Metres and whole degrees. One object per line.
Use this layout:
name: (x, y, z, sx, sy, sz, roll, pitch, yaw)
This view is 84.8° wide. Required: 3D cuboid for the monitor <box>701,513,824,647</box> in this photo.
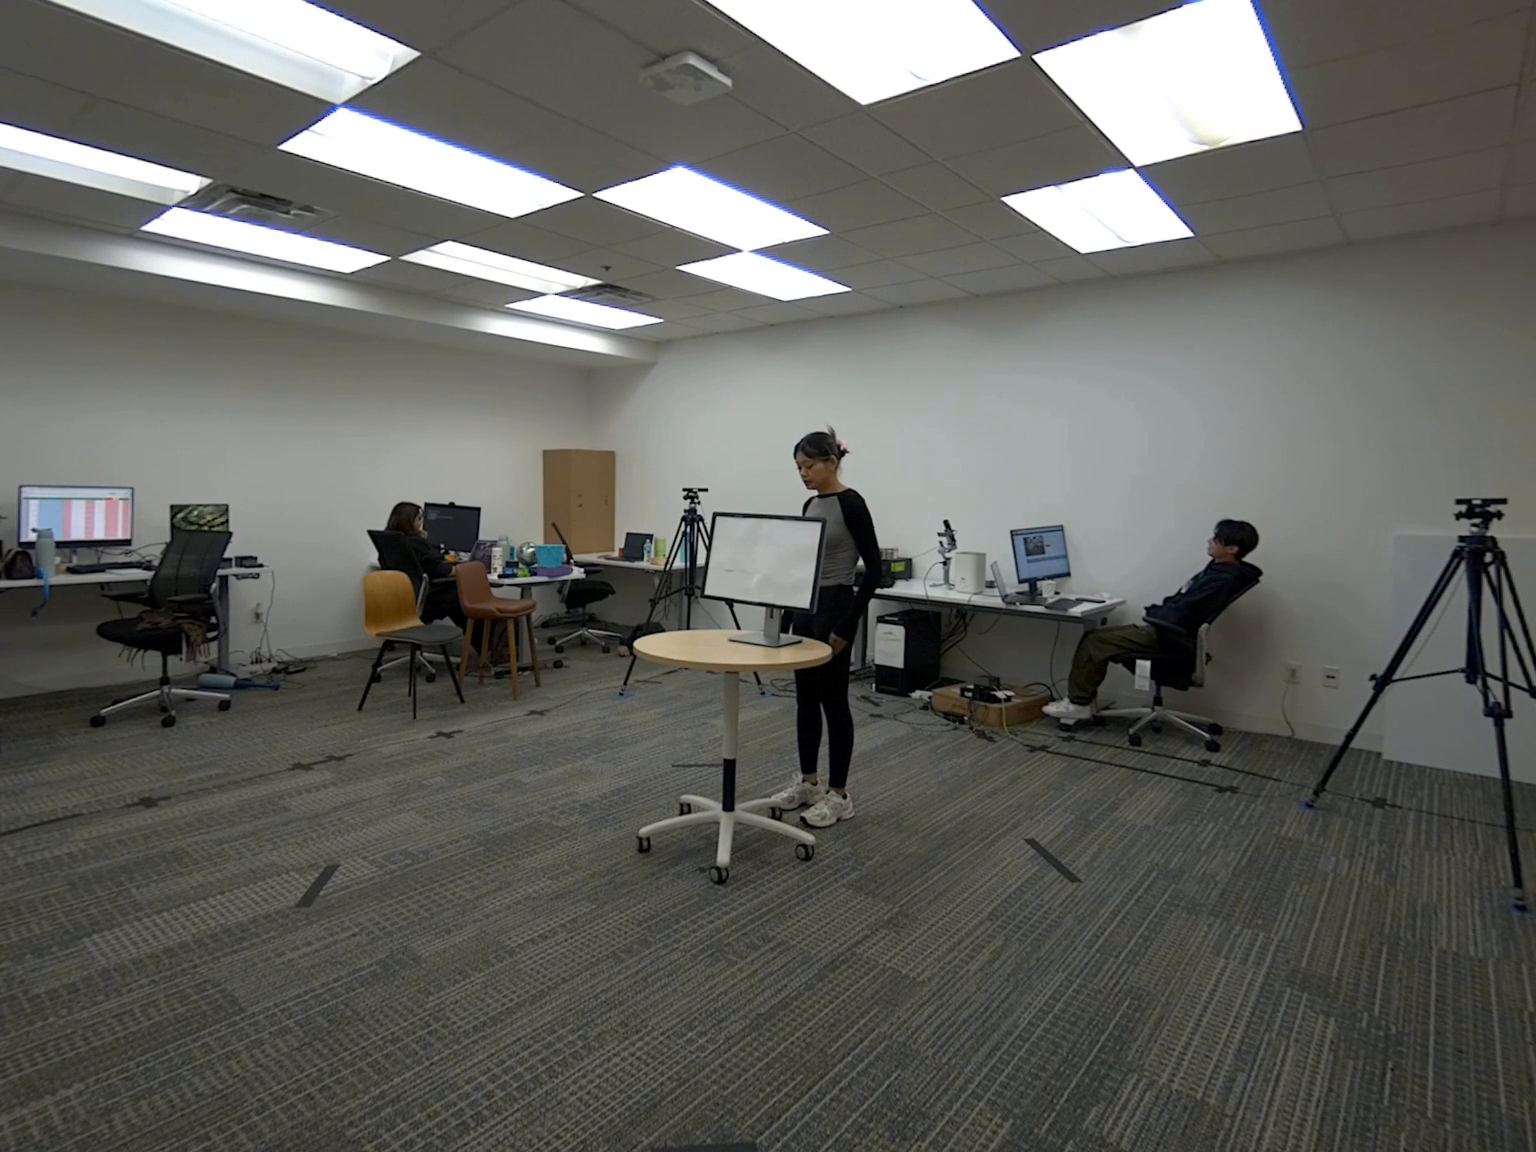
monitor: (-0.012, 0.013, 3.391, 0.557, 0.520, 0.182, 5, 7, 37)
